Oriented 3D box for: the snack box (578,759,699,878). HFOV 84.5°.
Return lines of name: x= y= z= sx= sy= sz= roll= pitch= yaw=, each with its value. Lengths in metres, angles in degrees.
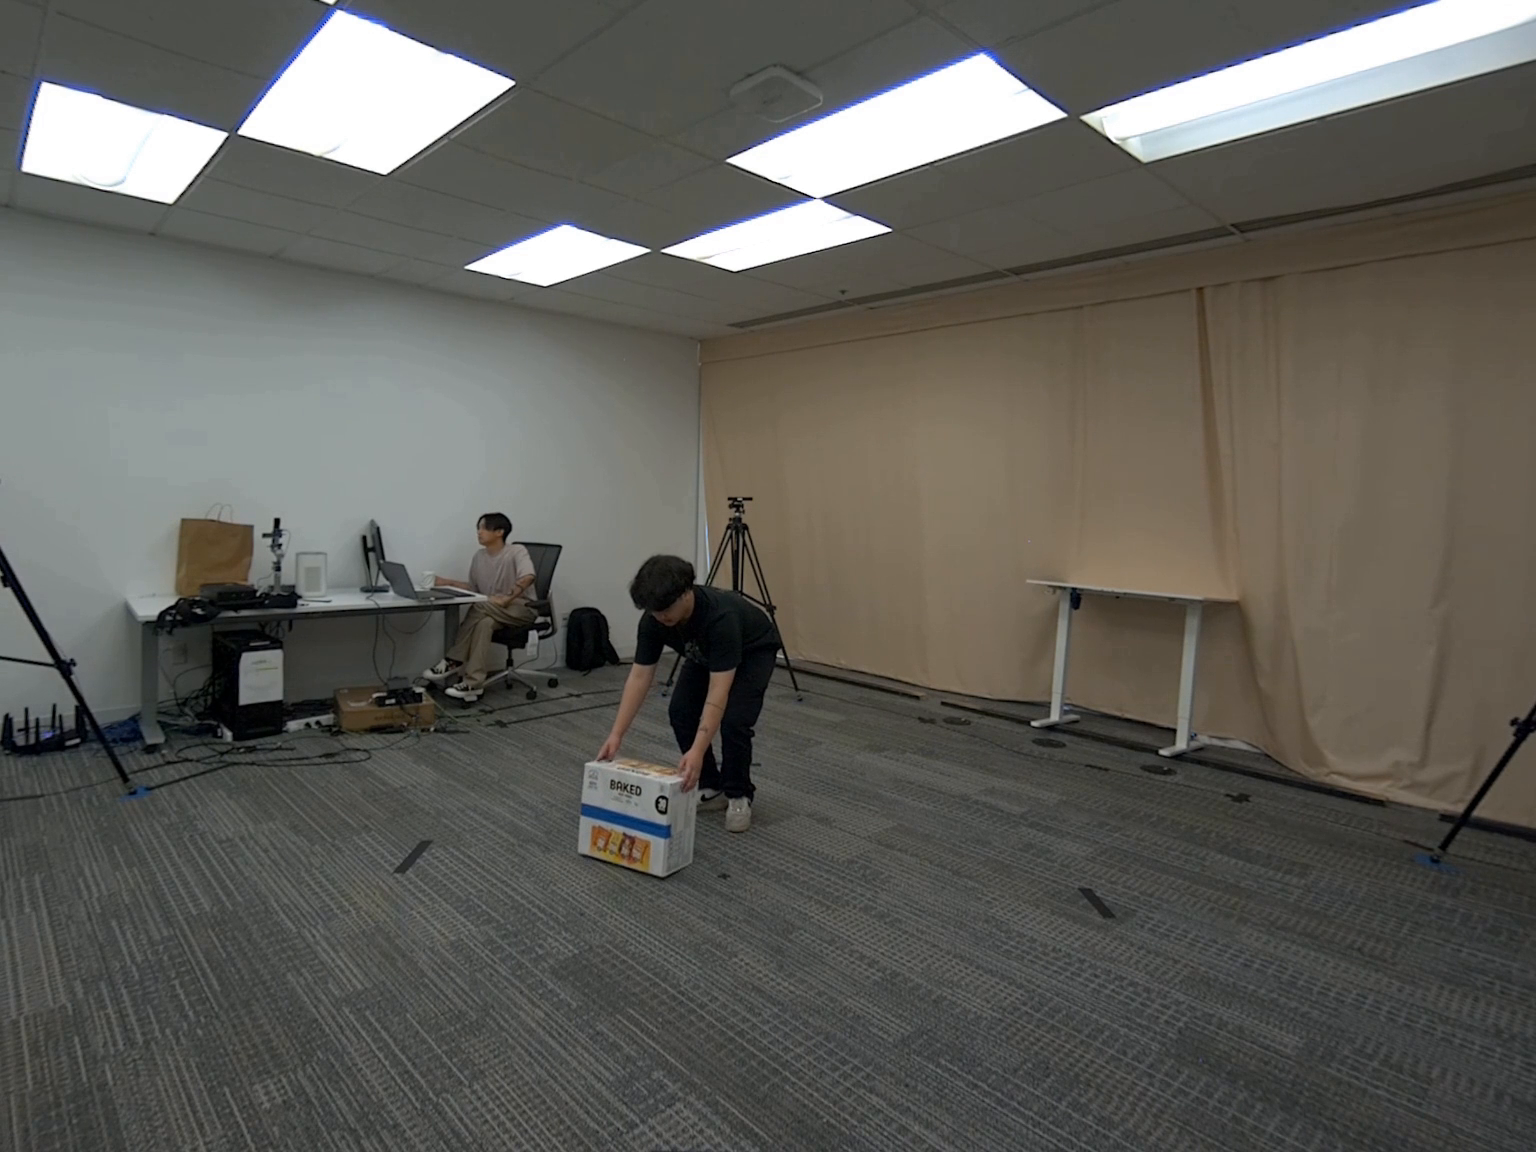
snack box: x=-0.509 y=0.913 z=3.231 sx=0.414 sy=0.340 sz=0.201 roll=4 pitch=0 yaw=29
